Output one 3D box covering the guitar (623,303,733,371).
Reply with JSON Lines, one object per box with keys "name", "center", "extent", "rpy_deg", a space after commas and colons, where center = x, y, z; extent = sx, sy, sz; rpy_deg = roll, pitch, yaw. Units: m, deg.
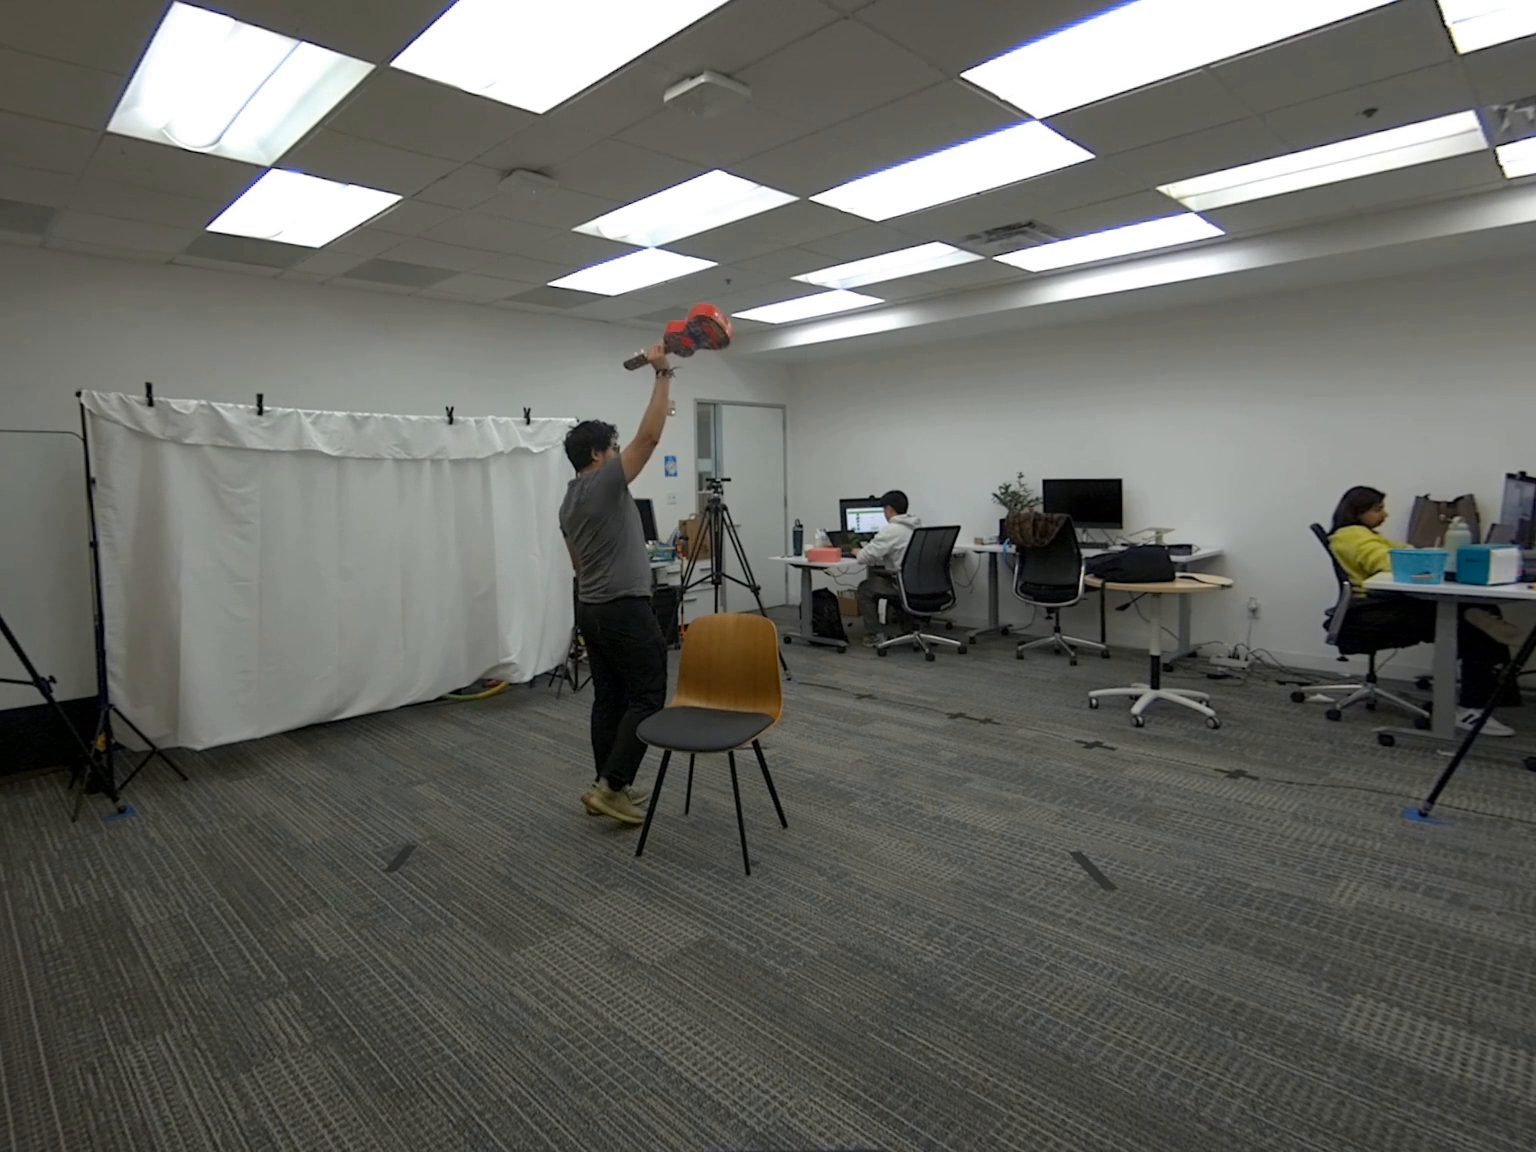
{"name": "guitar", "center": [-0.385, -0.923, 3.363], "extent": [0.508, 0.072, 0.185], "rpy_deg": [-5, -35, 27]}
